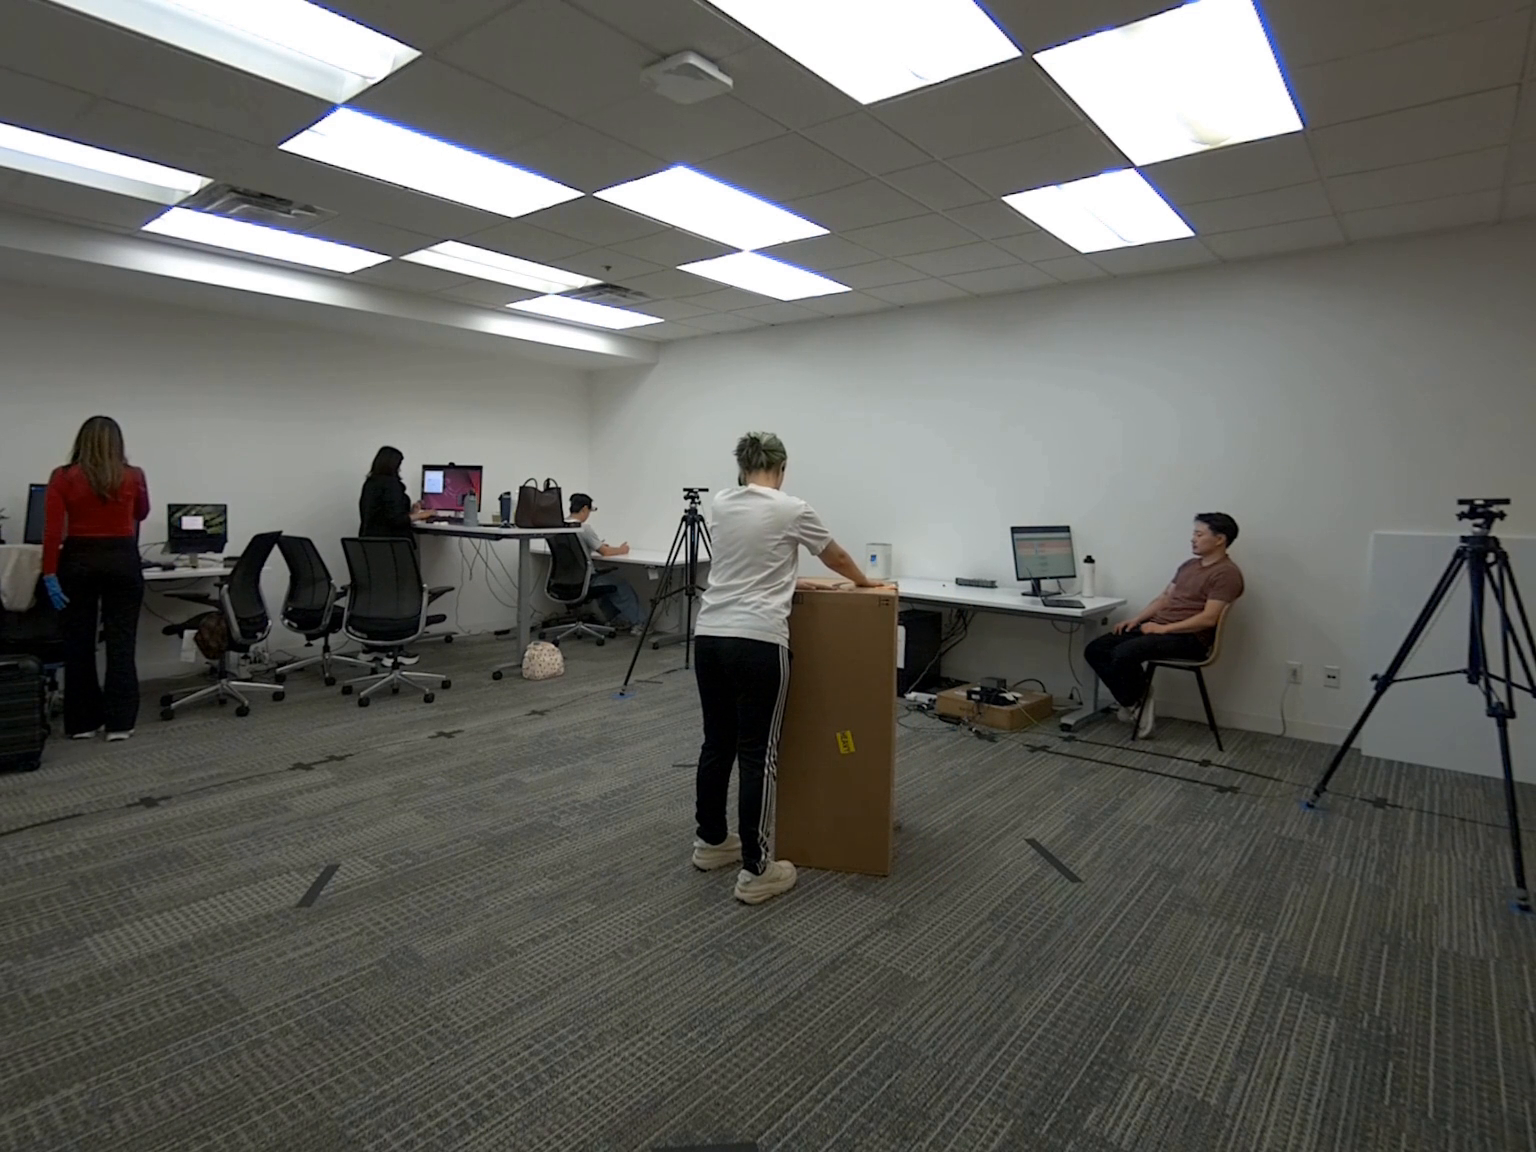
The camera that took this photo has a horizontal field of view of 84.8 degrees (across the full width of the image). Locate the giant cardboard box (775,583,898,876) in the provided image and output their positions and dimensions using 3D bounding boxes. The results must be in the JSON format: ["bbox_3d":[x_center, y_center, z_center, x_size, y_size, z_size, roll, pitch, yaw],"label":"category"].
[{"bbox_3d":[0.283,0.545,3.382,0.452,1.024,0.578,1,3,10],"label":"giant cardboard box"}]
